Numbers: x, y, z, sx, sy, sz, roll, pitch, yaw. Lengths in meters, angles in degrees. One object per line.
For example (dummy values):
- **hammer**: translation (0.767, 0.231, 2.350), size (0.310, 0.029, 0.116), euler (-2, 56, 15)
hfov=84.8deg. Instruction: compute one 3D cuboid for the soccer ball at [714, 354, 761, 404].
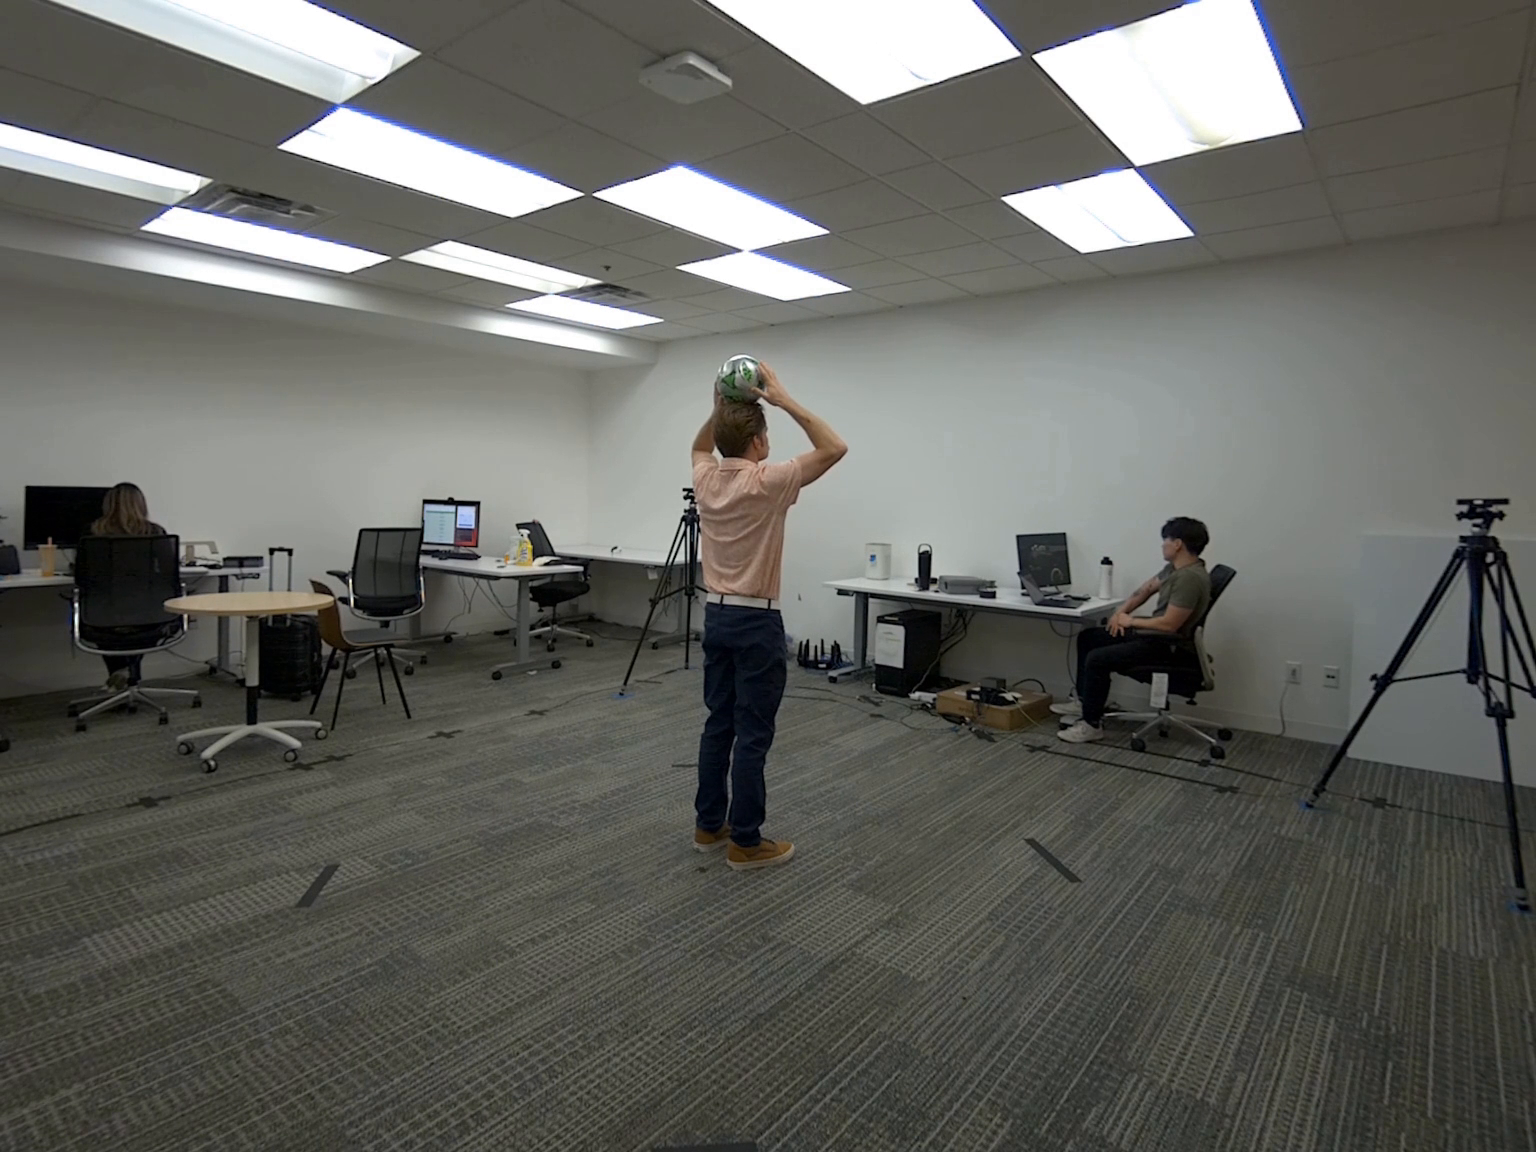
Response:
- **soccer ball**: translation (-0.106, -0.728, 3.175), size (0.187, 0.187, 0.188), euler (1, 4, -2)
